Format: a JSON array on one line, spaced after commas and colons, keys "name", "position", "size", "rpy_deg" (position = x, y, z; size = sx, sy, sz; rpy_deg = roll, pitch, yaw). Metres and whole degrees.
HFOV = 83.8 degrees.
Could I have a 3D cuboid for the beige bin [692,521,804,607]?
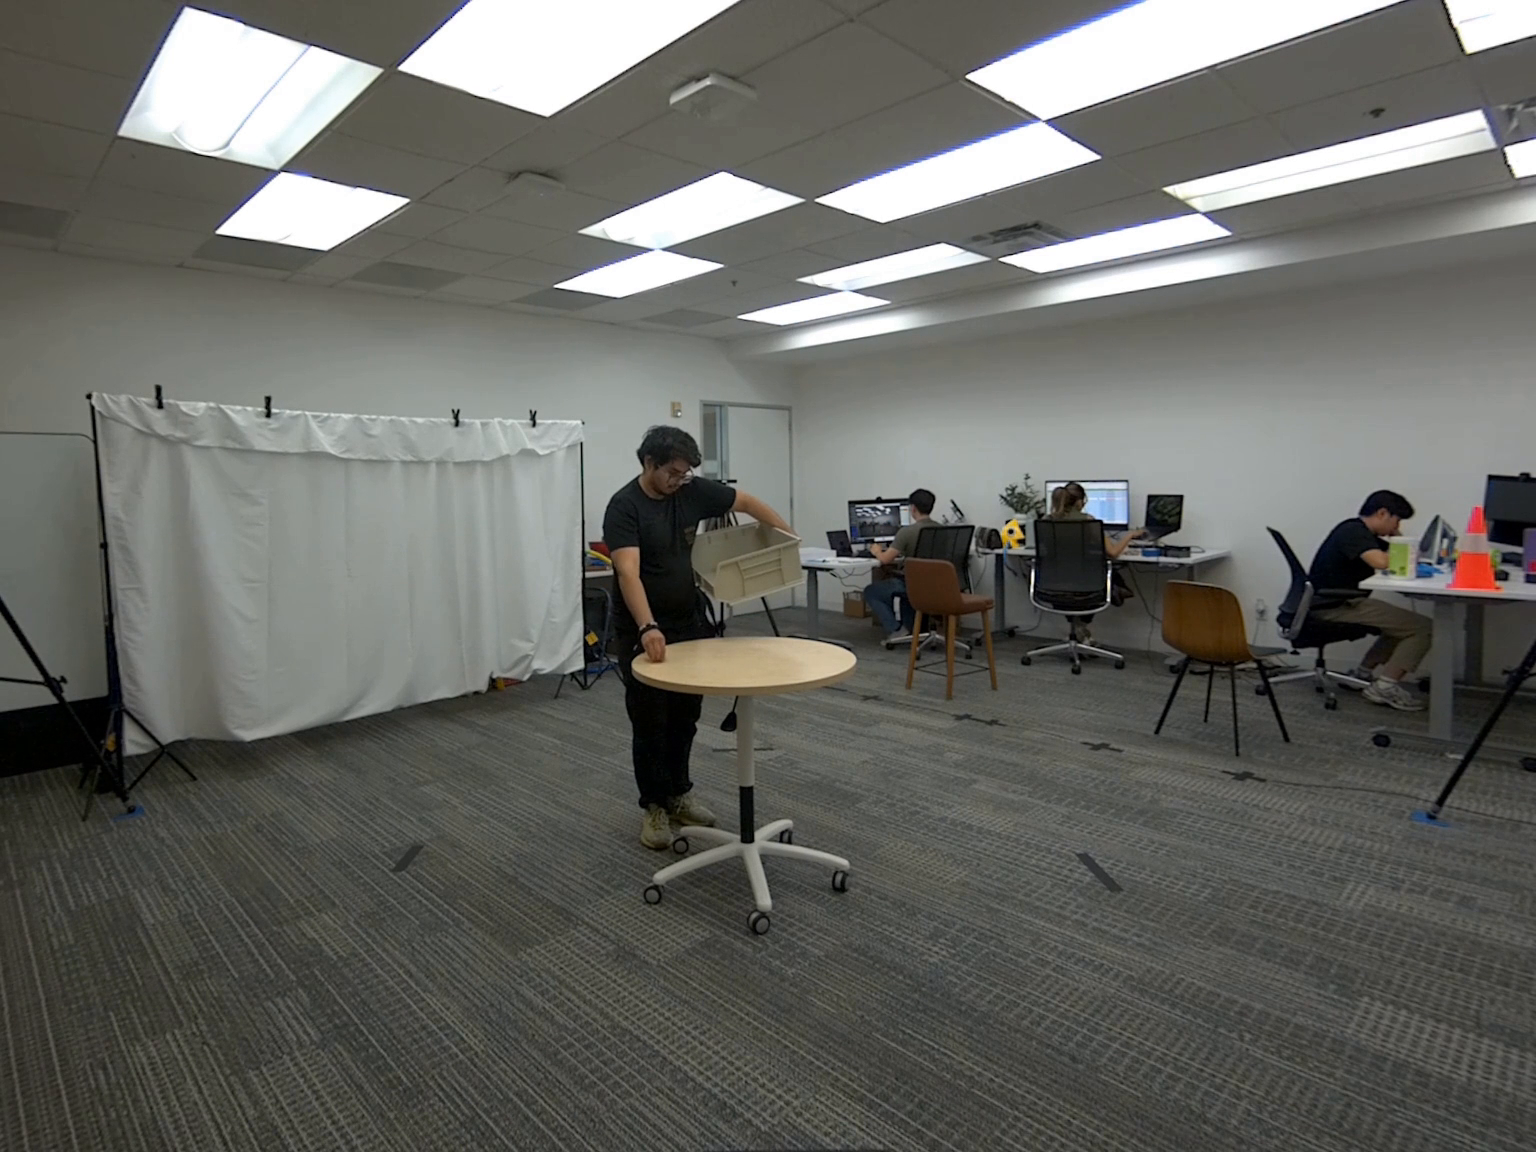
[{"name": "beige bin", "position": [-0.113, -0.054, 3.385], "size": [0.373, 0.186, 0.434], "rpy_deg": [-14, 17, -18]}]
